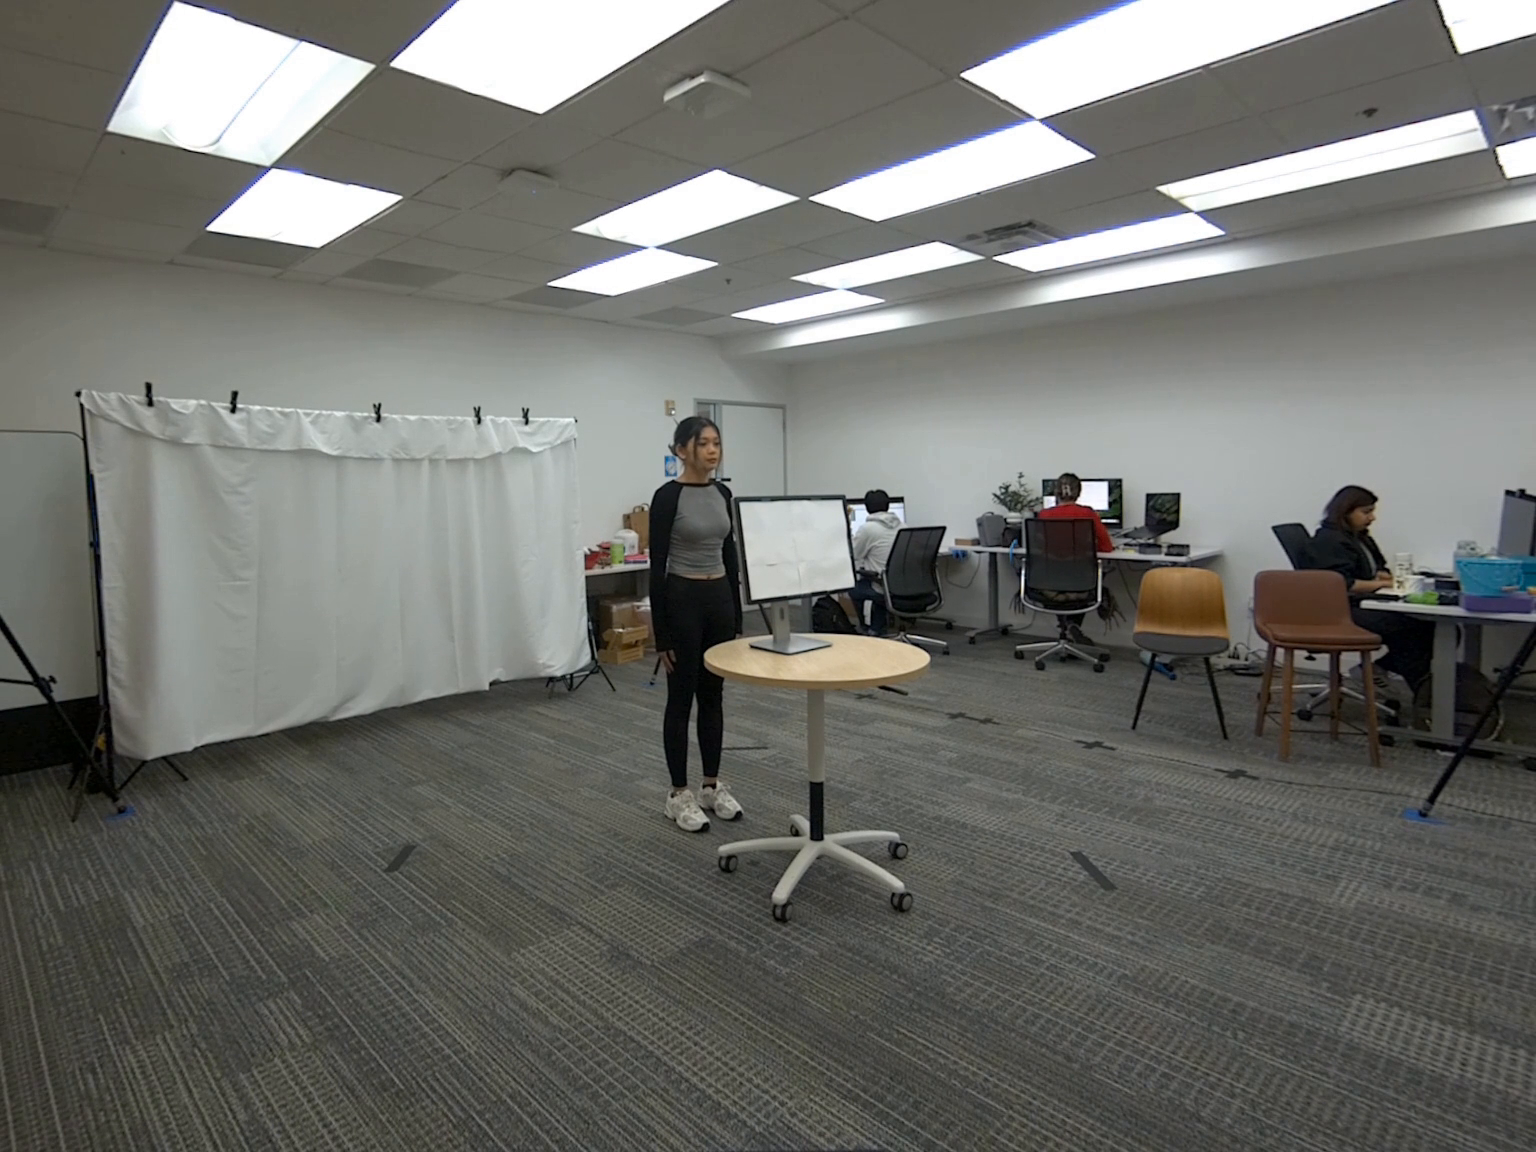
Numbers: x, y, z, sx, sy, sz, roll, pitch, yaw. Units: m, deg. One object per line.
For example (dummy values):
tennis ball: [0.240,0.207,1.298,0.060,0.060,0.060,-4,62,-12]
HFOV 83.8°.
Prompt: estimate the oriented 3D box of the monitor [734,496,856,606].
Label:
monitor: [0.083,-0.010,3.049,0.525,0.520,0.193,-5,8,-44]
